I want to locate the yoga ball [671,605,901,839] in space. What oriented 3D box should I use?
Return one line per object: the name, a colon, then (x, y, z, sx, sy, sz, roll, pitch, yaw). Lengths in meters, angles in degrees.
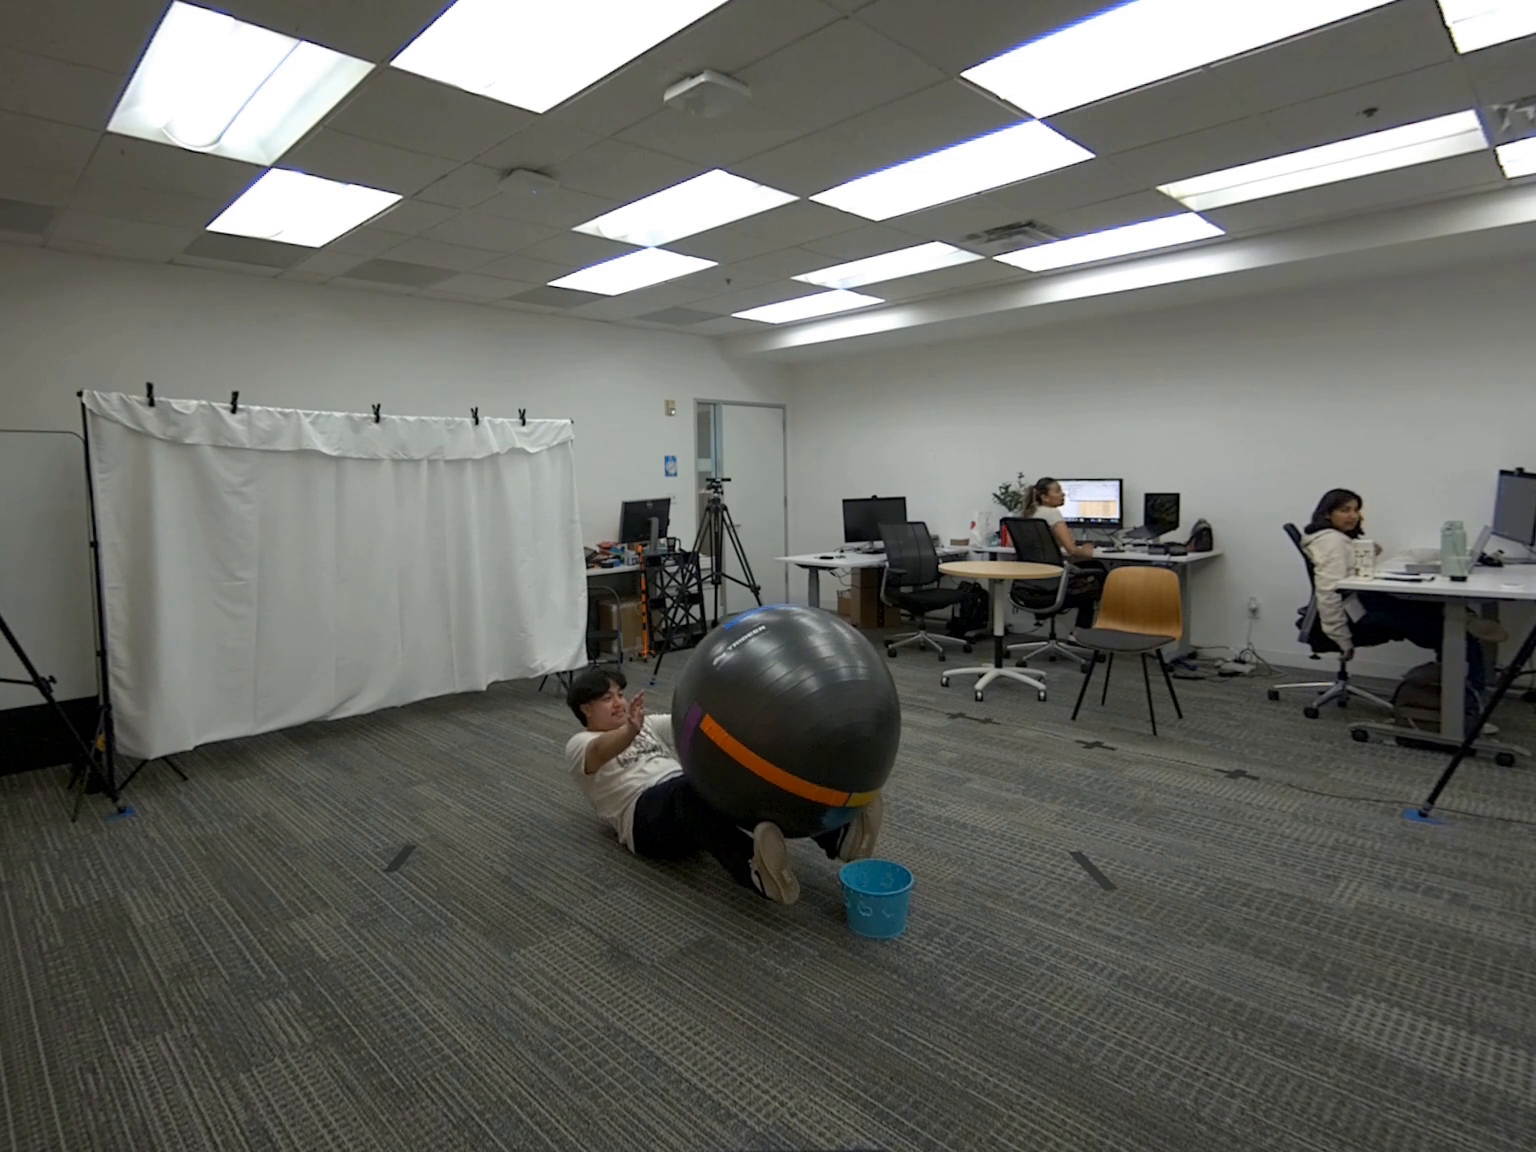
yoga ball: (0.056, 0.470, 2.847, 0.757, 0.755, 0.762, -1, 5, -2)
